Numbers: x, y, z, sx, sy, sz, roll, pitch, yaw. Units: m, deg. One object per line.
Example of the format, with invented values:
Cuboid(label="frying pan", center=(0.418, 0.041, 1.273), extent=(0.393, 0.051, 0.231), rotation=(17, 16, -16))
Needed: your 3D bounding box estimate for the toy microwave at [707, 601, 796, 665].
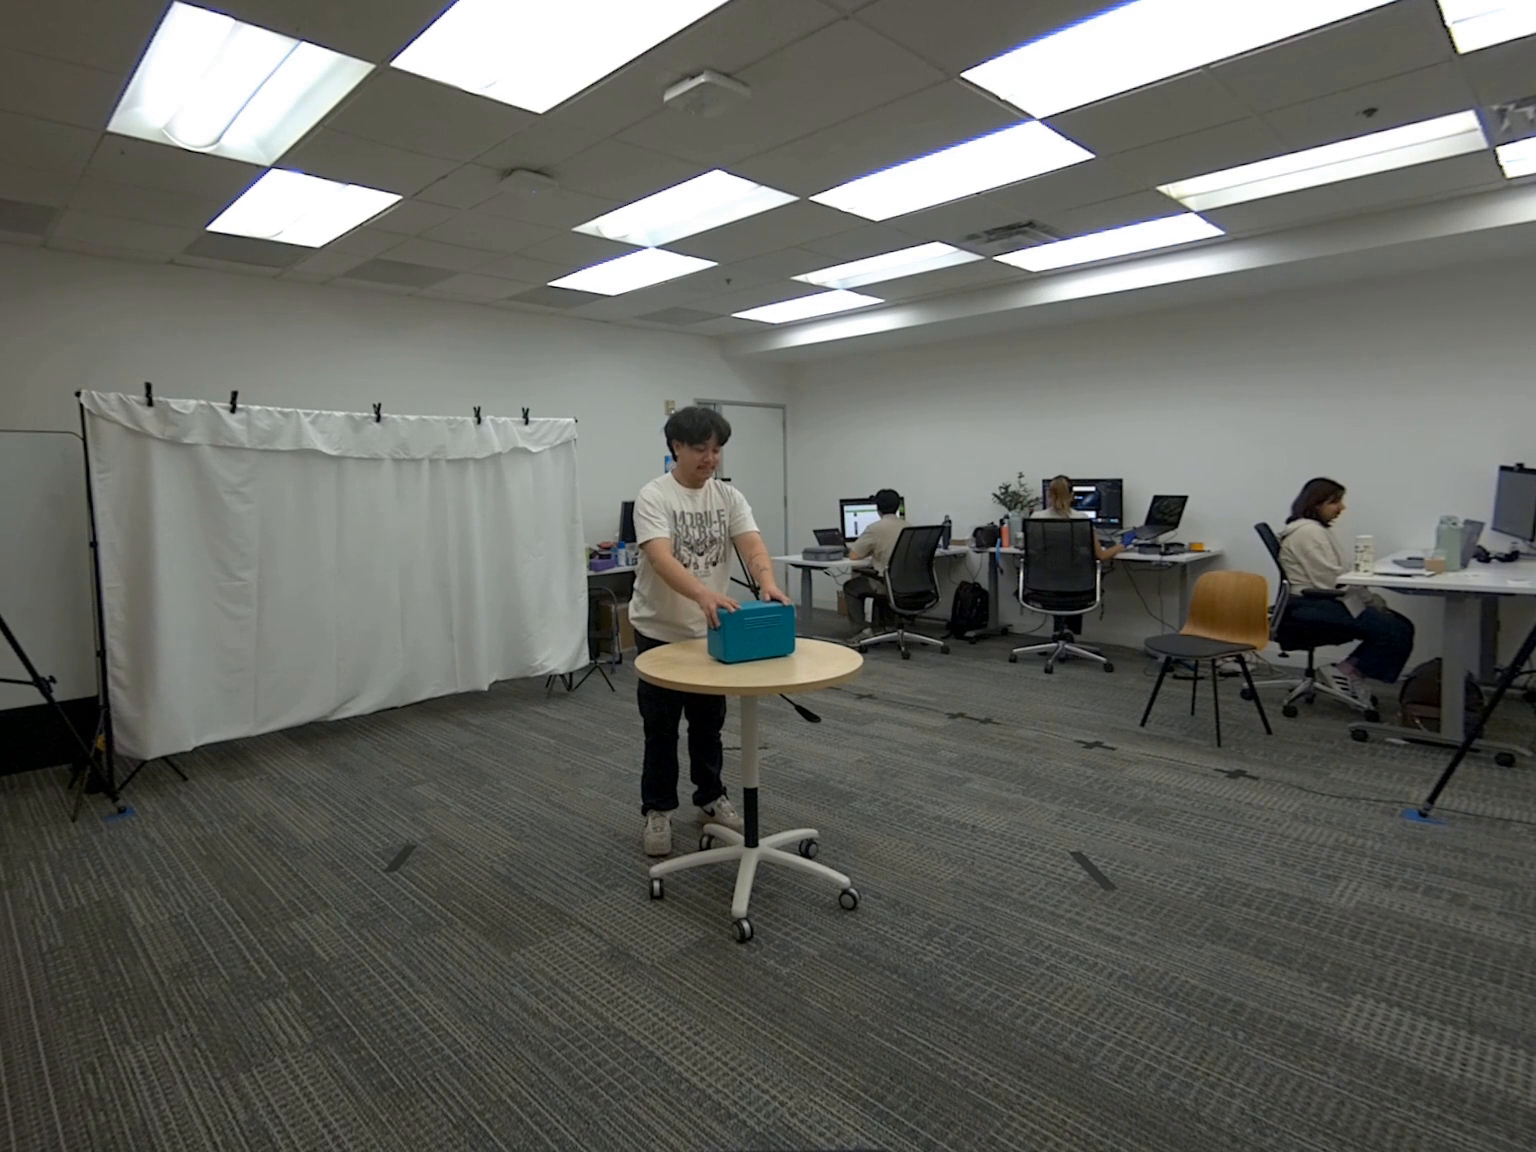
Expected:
Cuboid(label="toy microwave", center=(-0.062, 0.183, 2.900), extent=(0.280, 0.183, 0.156), rotation=(-4, 6, -27))
